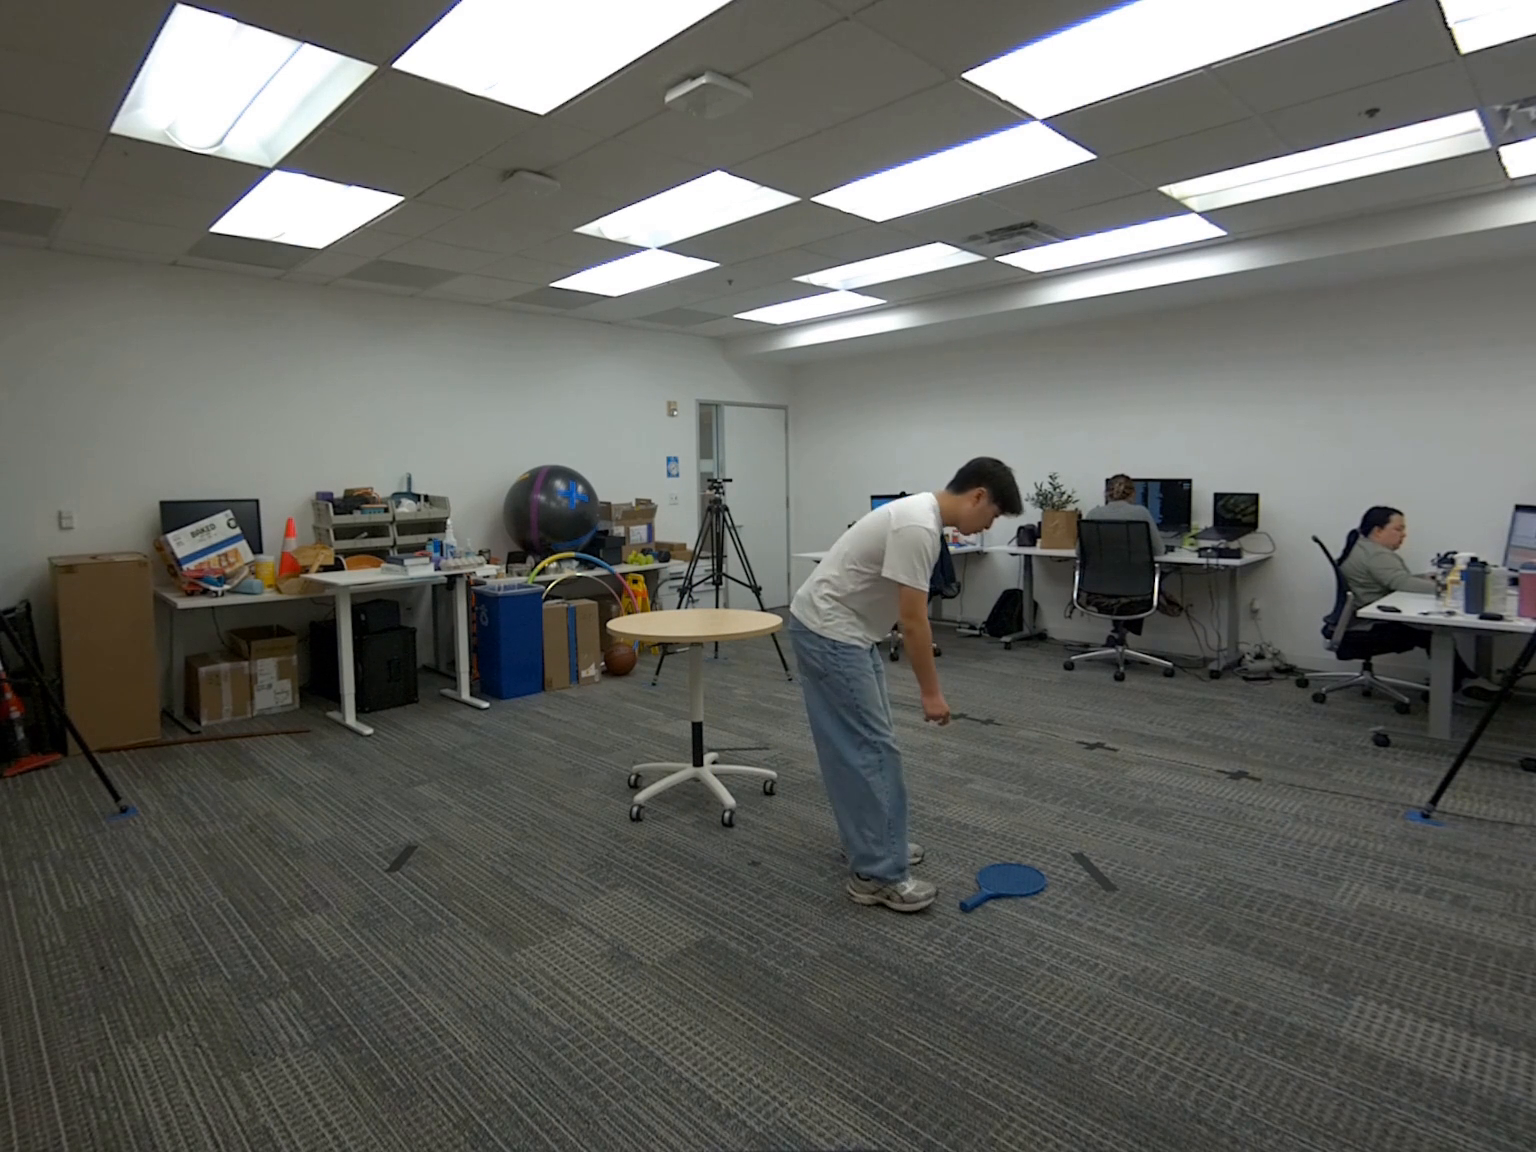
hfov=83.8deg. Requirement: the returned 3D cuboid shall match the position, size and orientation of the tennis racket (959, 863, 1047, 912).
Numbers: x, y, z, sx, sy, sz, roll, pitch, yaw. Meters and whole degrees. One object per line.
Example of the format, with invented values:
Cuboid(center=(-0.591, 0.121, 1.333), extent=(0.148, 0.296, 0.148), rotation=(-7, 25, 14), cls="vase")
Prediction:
Cuboid(center=(0.771, 1.040, 2.882), extent=(0.421, 0.031, 0.220), rotation=(-5, 7, -42), cls="tennis racket")
